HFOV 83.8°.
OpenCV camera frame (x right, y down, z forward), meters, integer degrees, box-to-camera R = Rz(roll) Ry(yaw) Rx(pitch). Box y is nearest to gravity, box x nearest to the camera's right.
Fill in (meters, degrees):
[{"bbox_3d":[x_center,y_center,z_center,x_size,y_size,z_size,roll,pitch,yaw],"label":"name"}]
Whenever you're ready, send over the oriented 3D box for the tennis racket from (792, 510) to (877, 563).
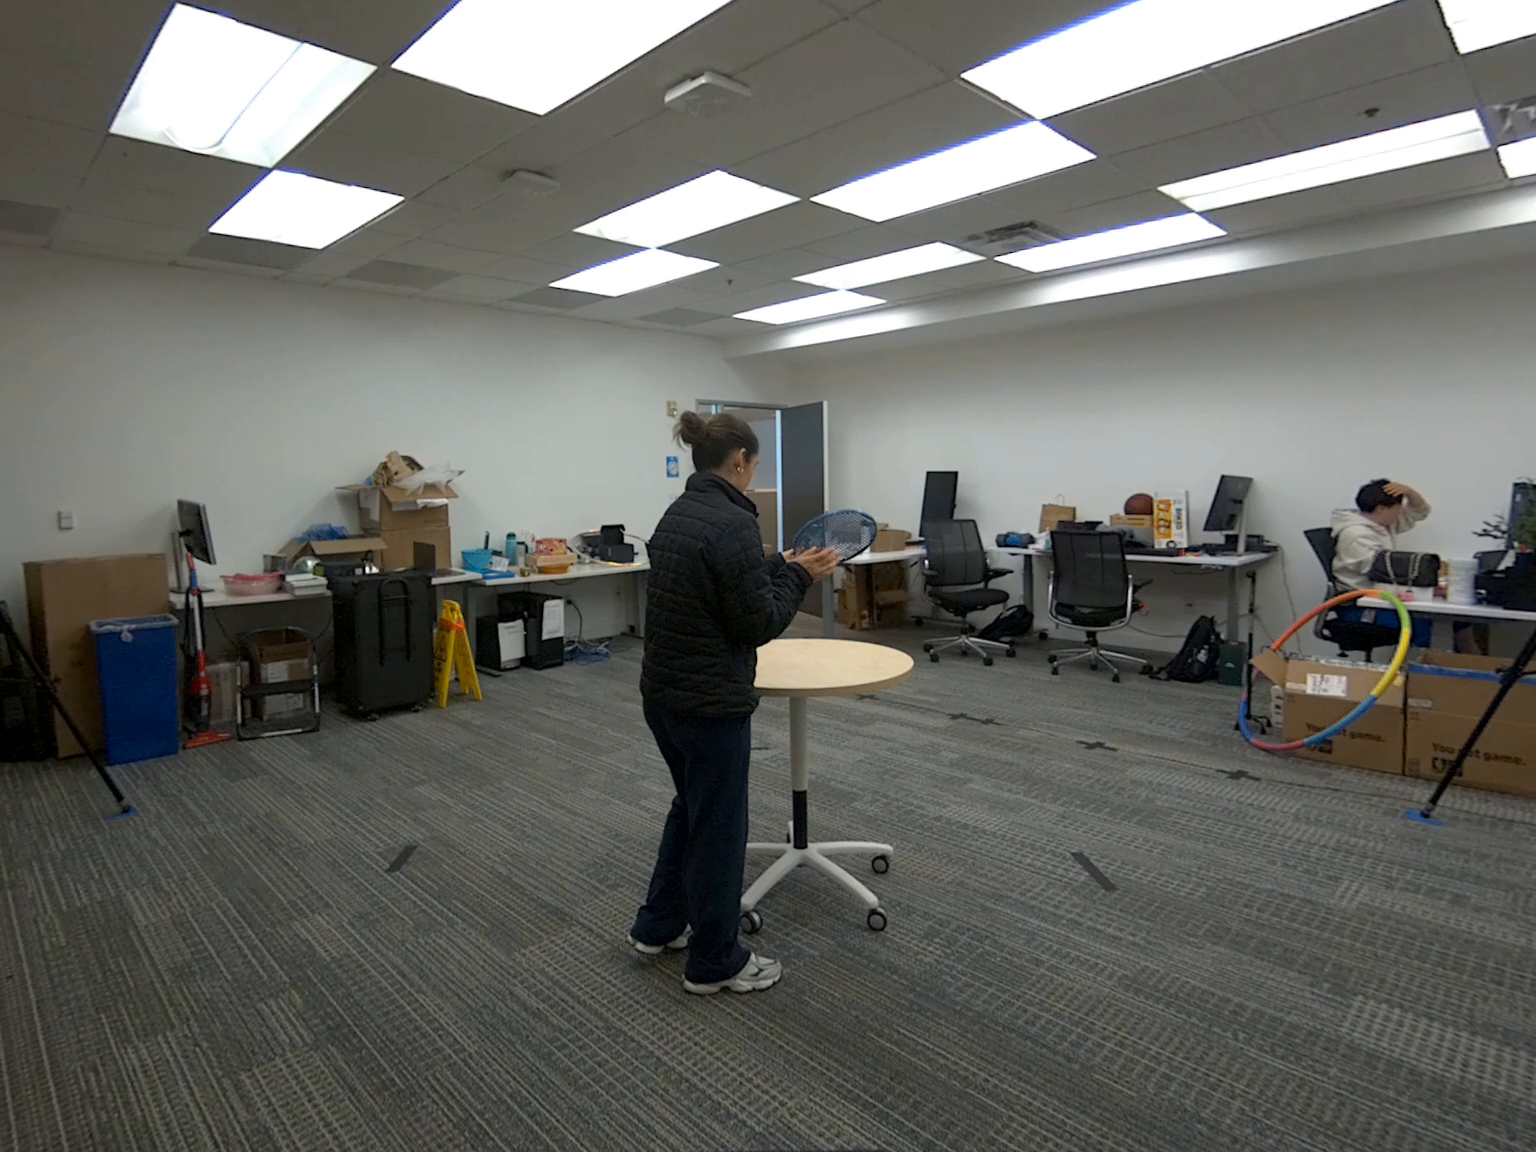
[{"bbox_3d":[0.149,-0.062,2.492,0.207,0.032,0.435,23,-41,-30],"label":"tennis racket"}]
